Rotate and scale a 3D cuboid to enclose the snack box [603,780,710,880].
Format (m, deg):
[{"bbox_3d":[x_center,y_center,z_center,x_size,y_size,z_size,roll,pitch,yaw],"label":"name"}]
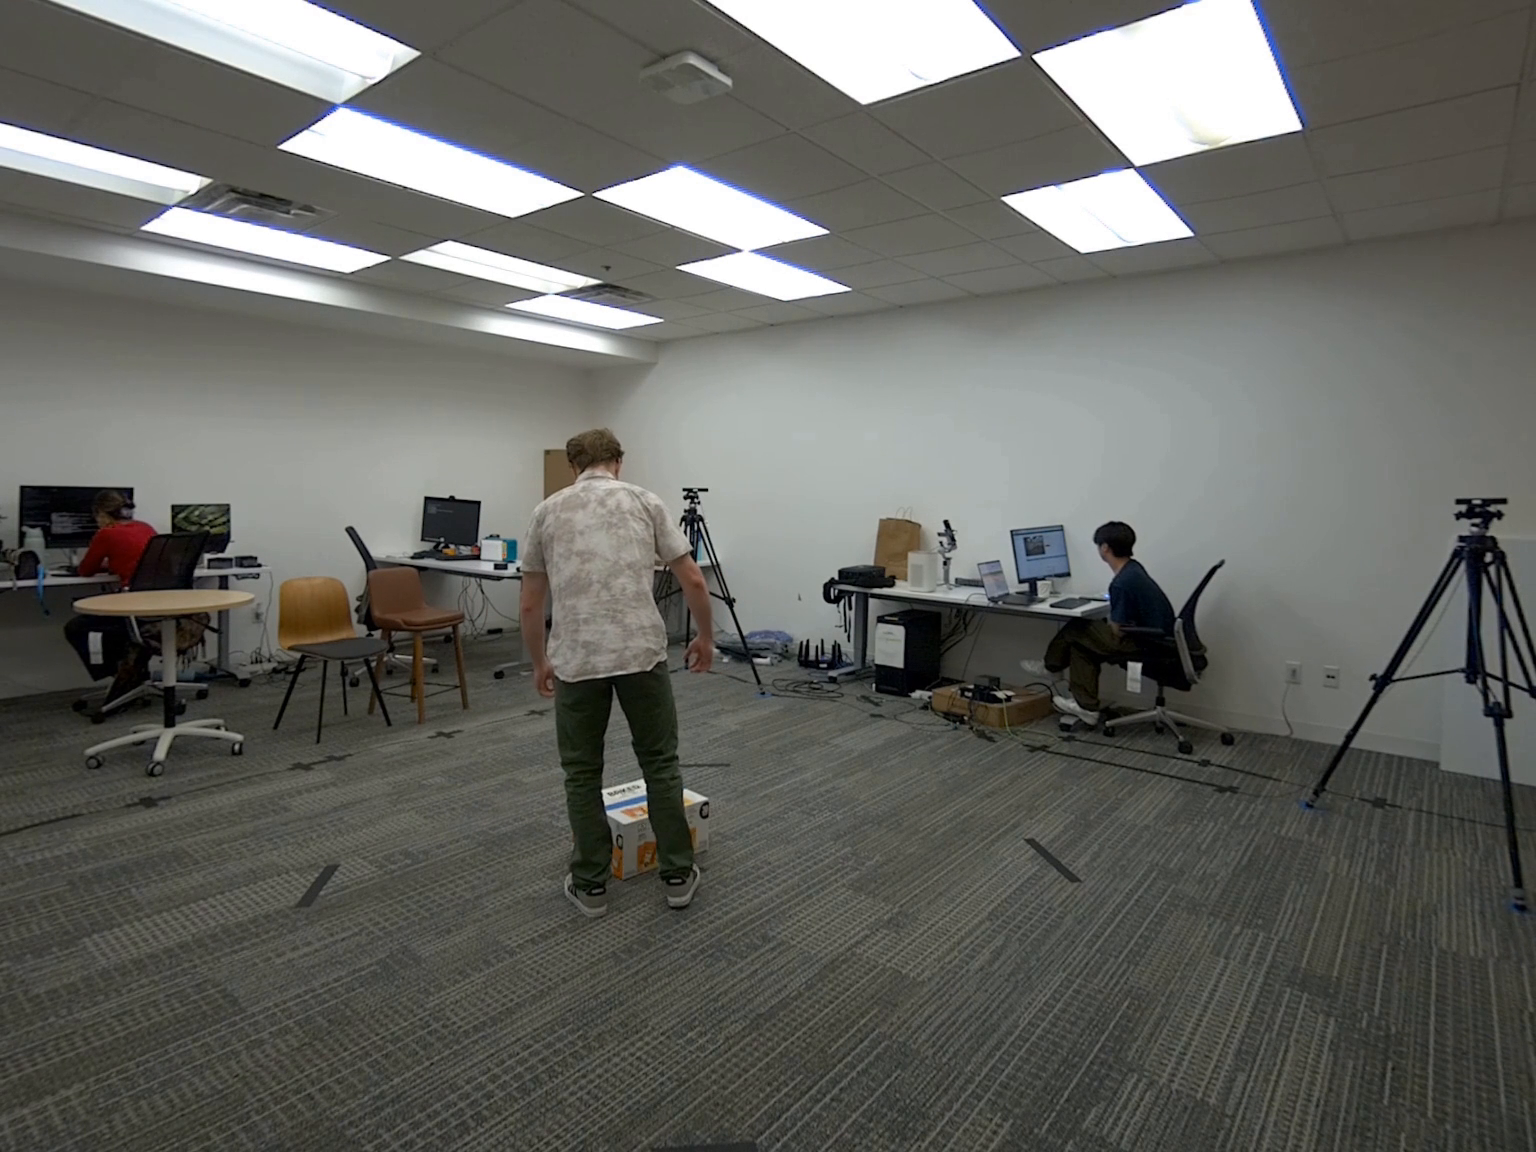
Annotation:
[{"bbox_3d":[-0.497,0.950,3.257,0.393,0.205,0.352,-4,7,-43],"label":"snack box"}]
